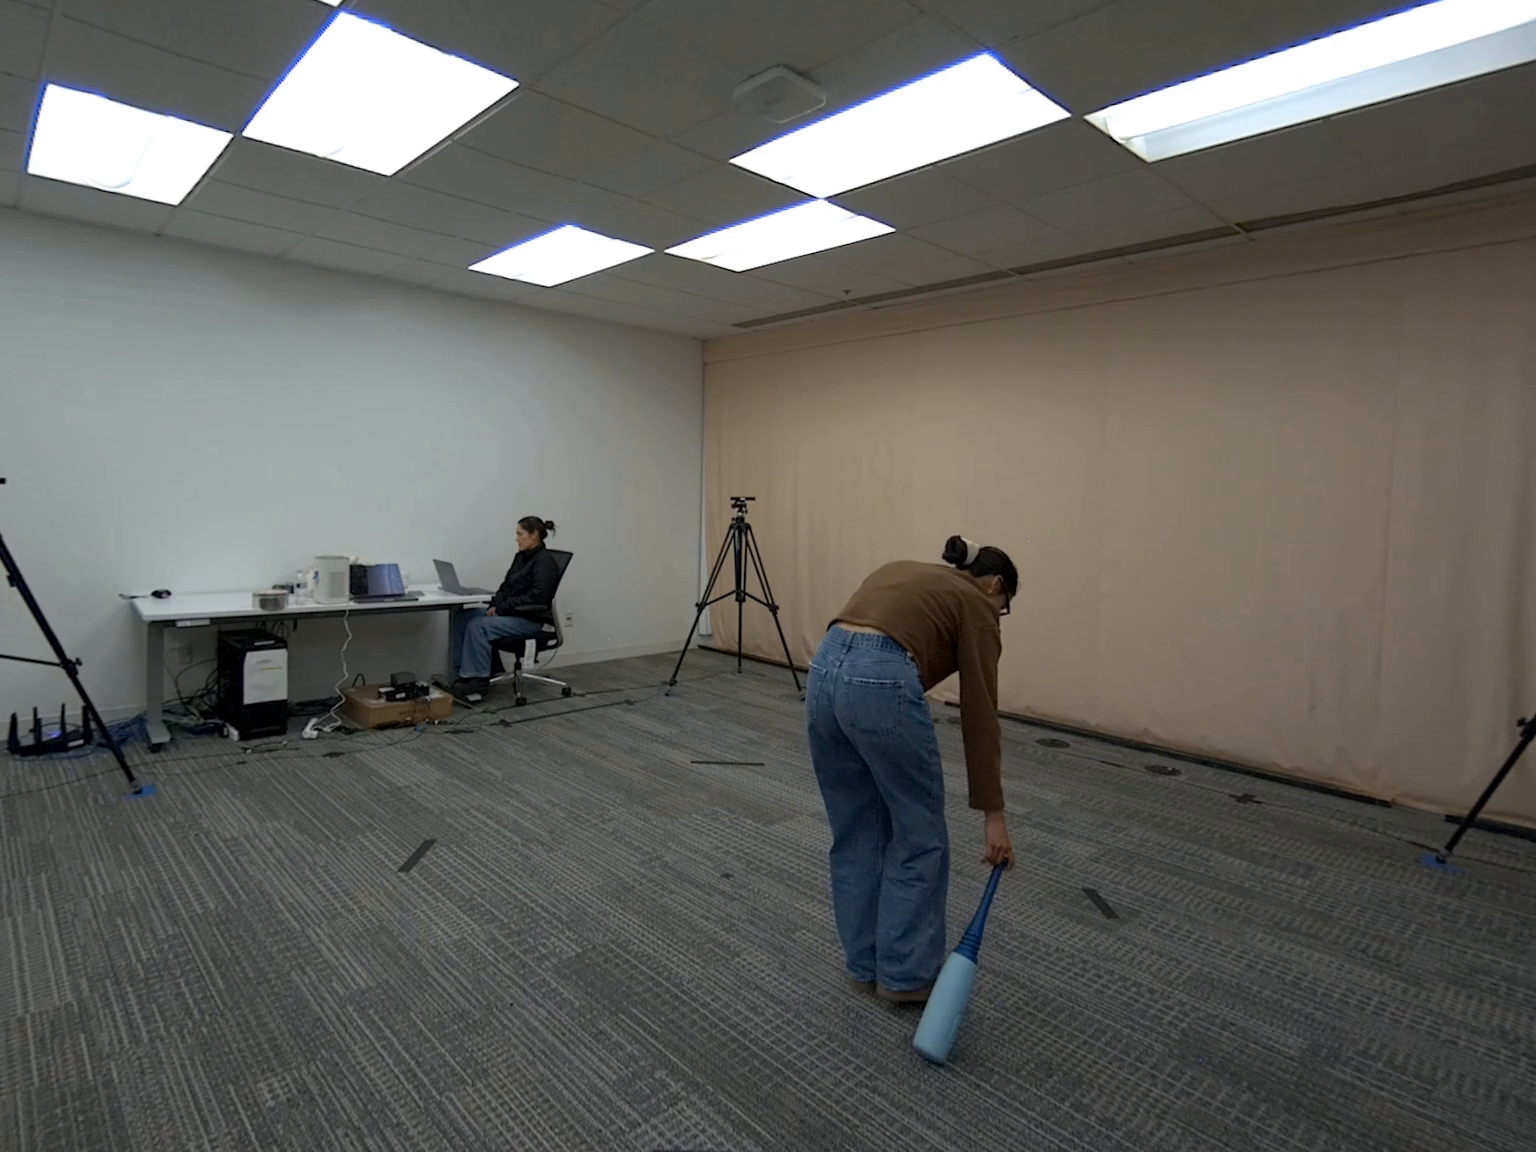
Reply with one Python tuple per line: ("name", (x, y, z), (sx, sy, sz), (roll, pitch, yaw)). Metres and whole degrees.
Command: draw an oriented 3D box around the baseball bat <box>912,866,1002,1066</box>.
("baseball bat", (0.521, 0.993, 2.192), (0.090, 0.545, 0.087), (28, -26, 13))
